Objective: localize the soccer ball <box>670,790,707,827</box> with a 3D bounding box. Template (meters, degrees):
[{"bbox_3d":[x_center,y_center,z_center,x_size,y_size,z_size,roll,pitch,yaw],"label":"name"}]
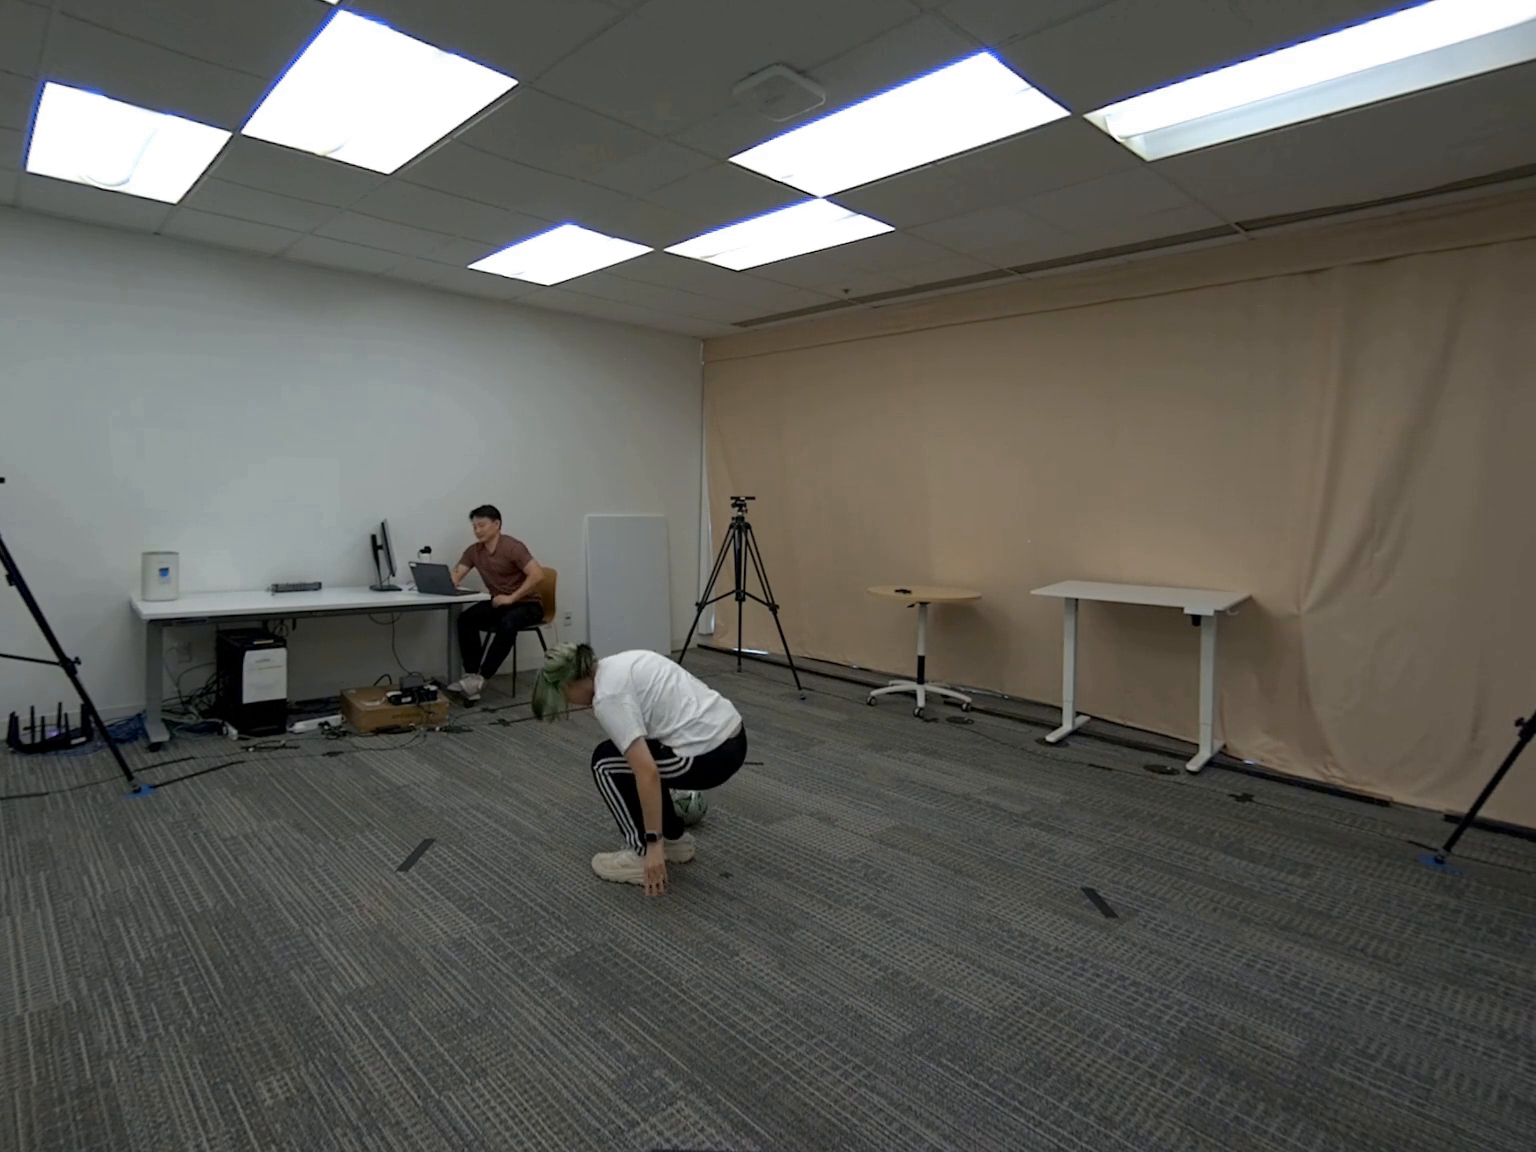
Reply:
[{"bbox_3d":[-0.355,0.965,3.588,0.187,0.187,0.188,1,4,-1],"label":"soccer ball"}]
